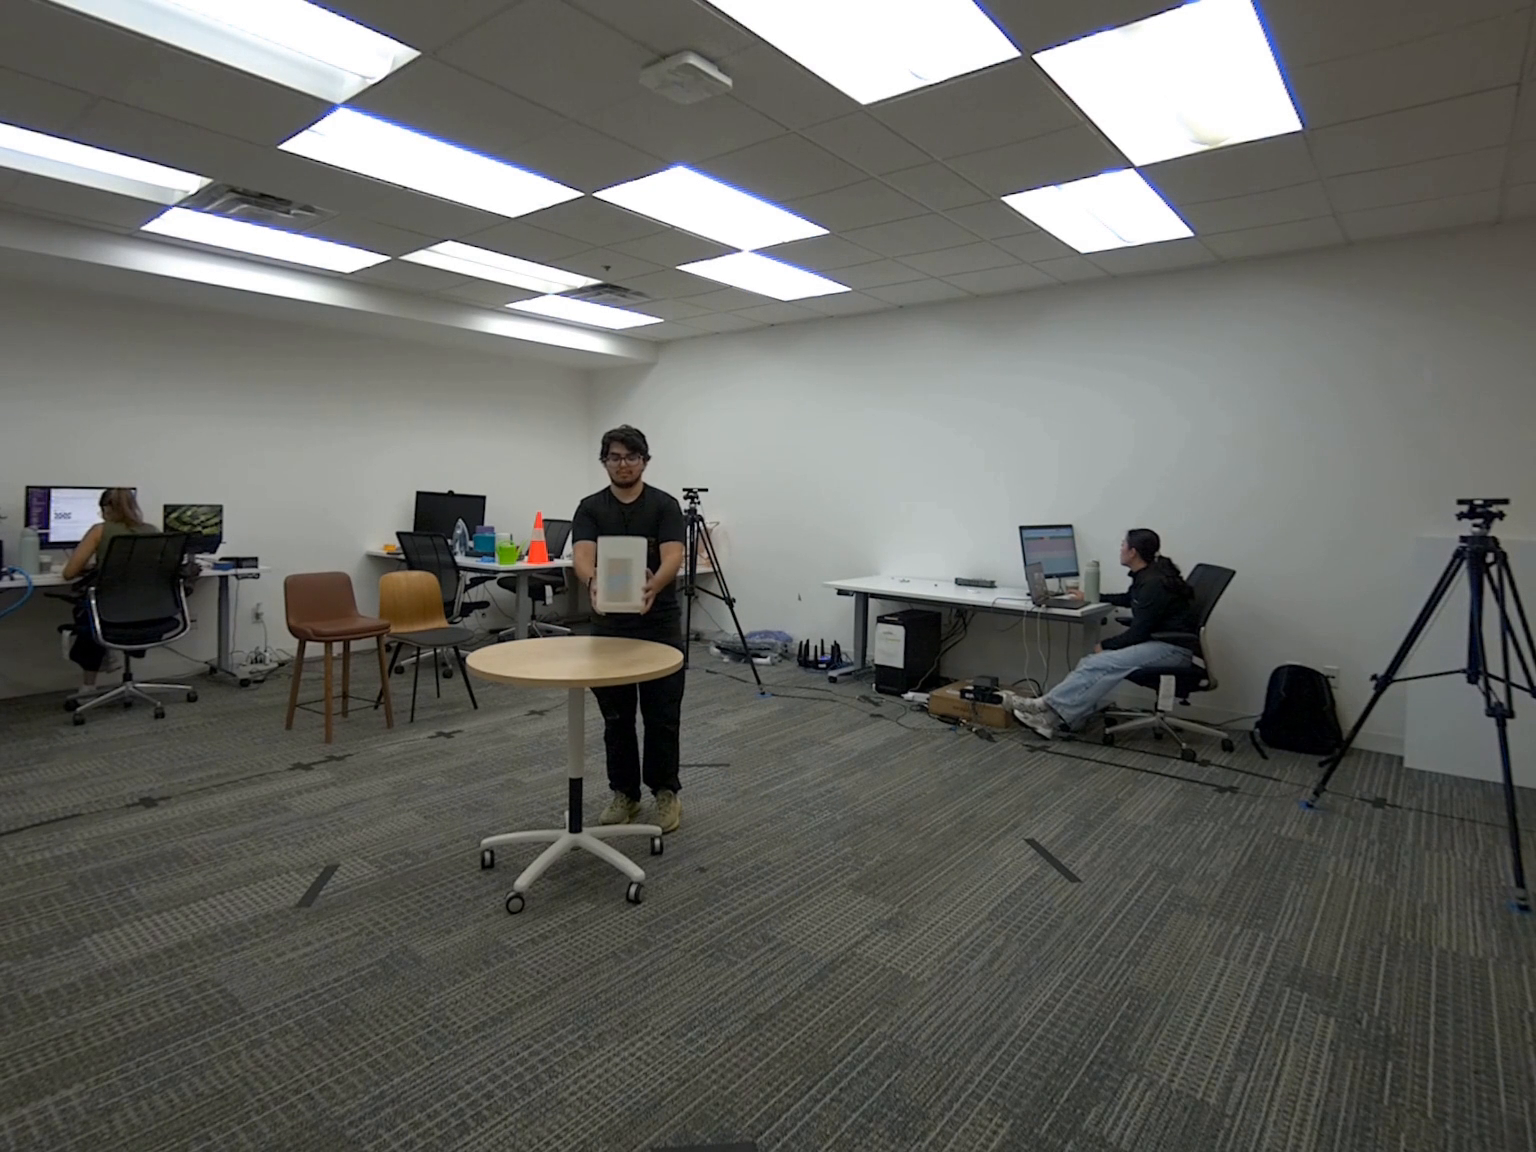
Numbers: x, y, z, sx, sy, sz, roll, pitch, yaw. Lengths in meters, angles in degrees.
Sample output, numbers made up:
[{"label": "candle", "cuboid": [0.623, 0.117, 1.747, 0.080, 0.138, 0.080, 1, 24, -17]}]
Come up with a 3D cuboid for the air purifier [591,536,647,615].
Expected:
[{"label": "air purifier", "cuboid": [-0.535, -0.003, 3.041, 0.170, 0.267, 0.171, 1, -5, -6]}]
